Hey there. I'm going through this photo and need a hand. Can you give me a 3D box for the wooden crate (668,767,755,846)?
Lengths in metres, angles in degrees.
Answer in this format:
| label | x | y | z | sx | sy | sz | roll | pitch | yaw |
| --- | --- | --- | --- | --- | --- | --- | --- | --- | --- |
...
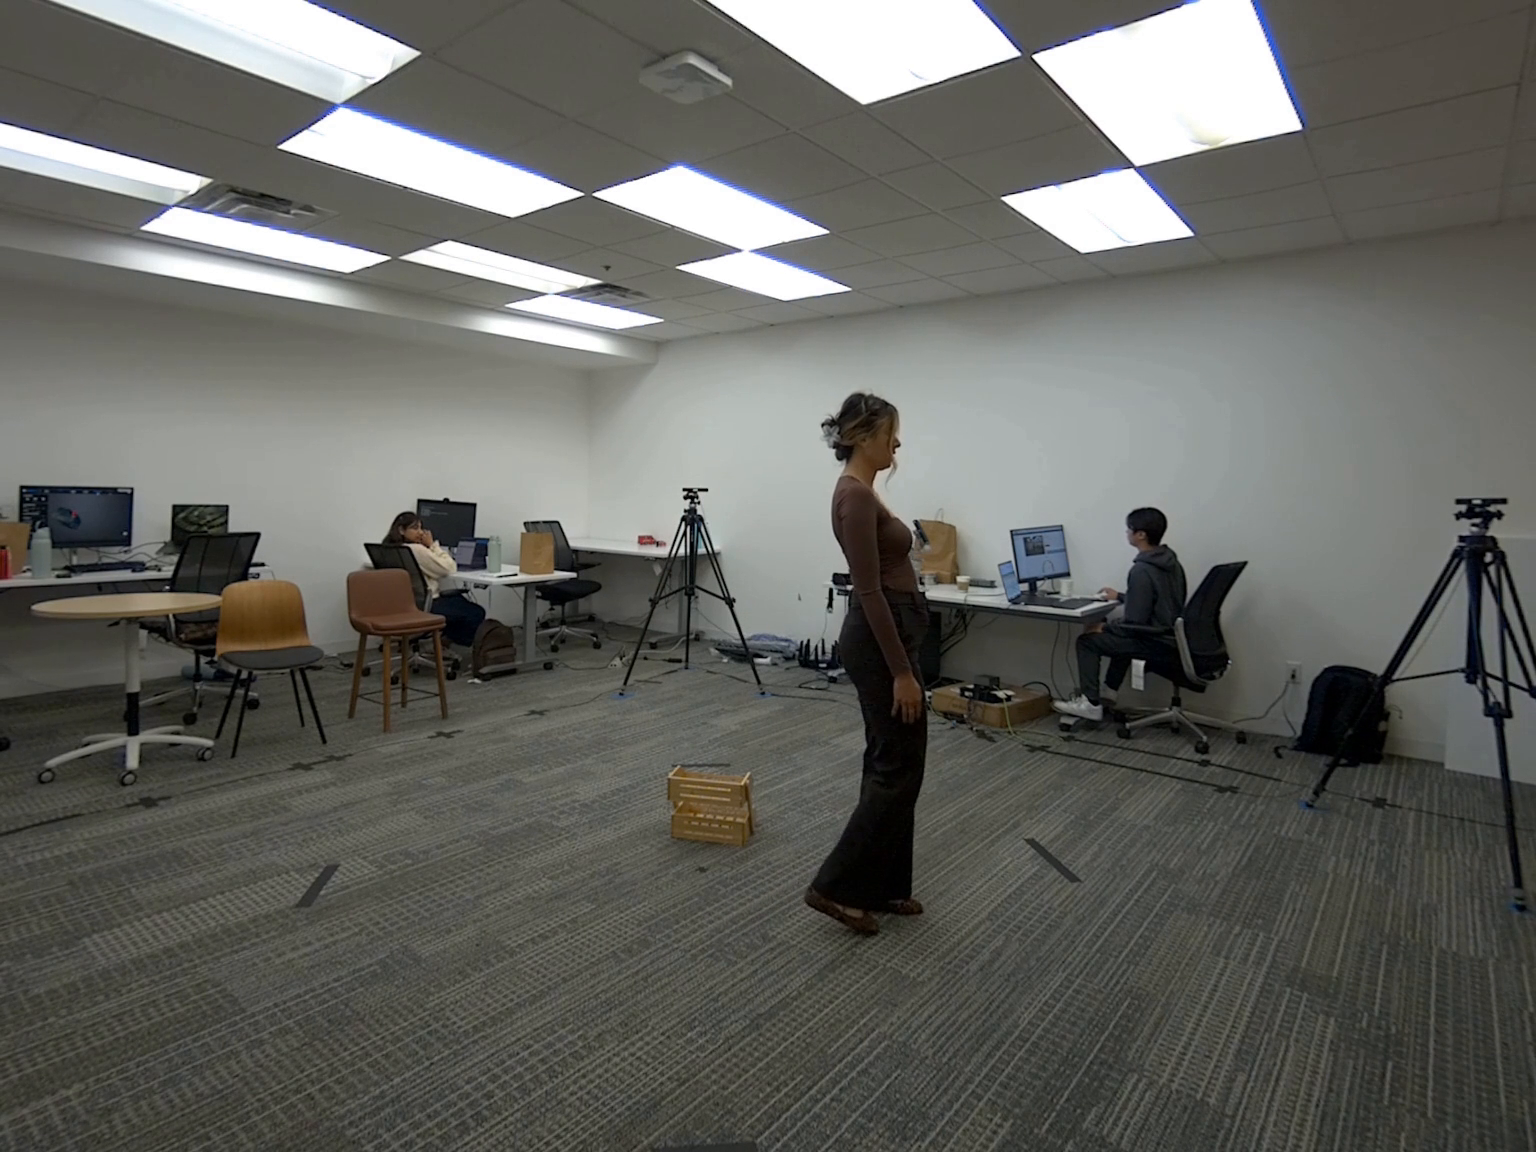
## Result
| label | x | y | z | sx | sy | sz | roll | pitch | yaw |
| --- | --- | --- | --- | --- | --- | --- | --- | --- | --- |
| wooden crate | -0.230 | 0.901 | 3.450 | 0.329 | 0.272 | 0.299 | 2 | 5 | 12 |
